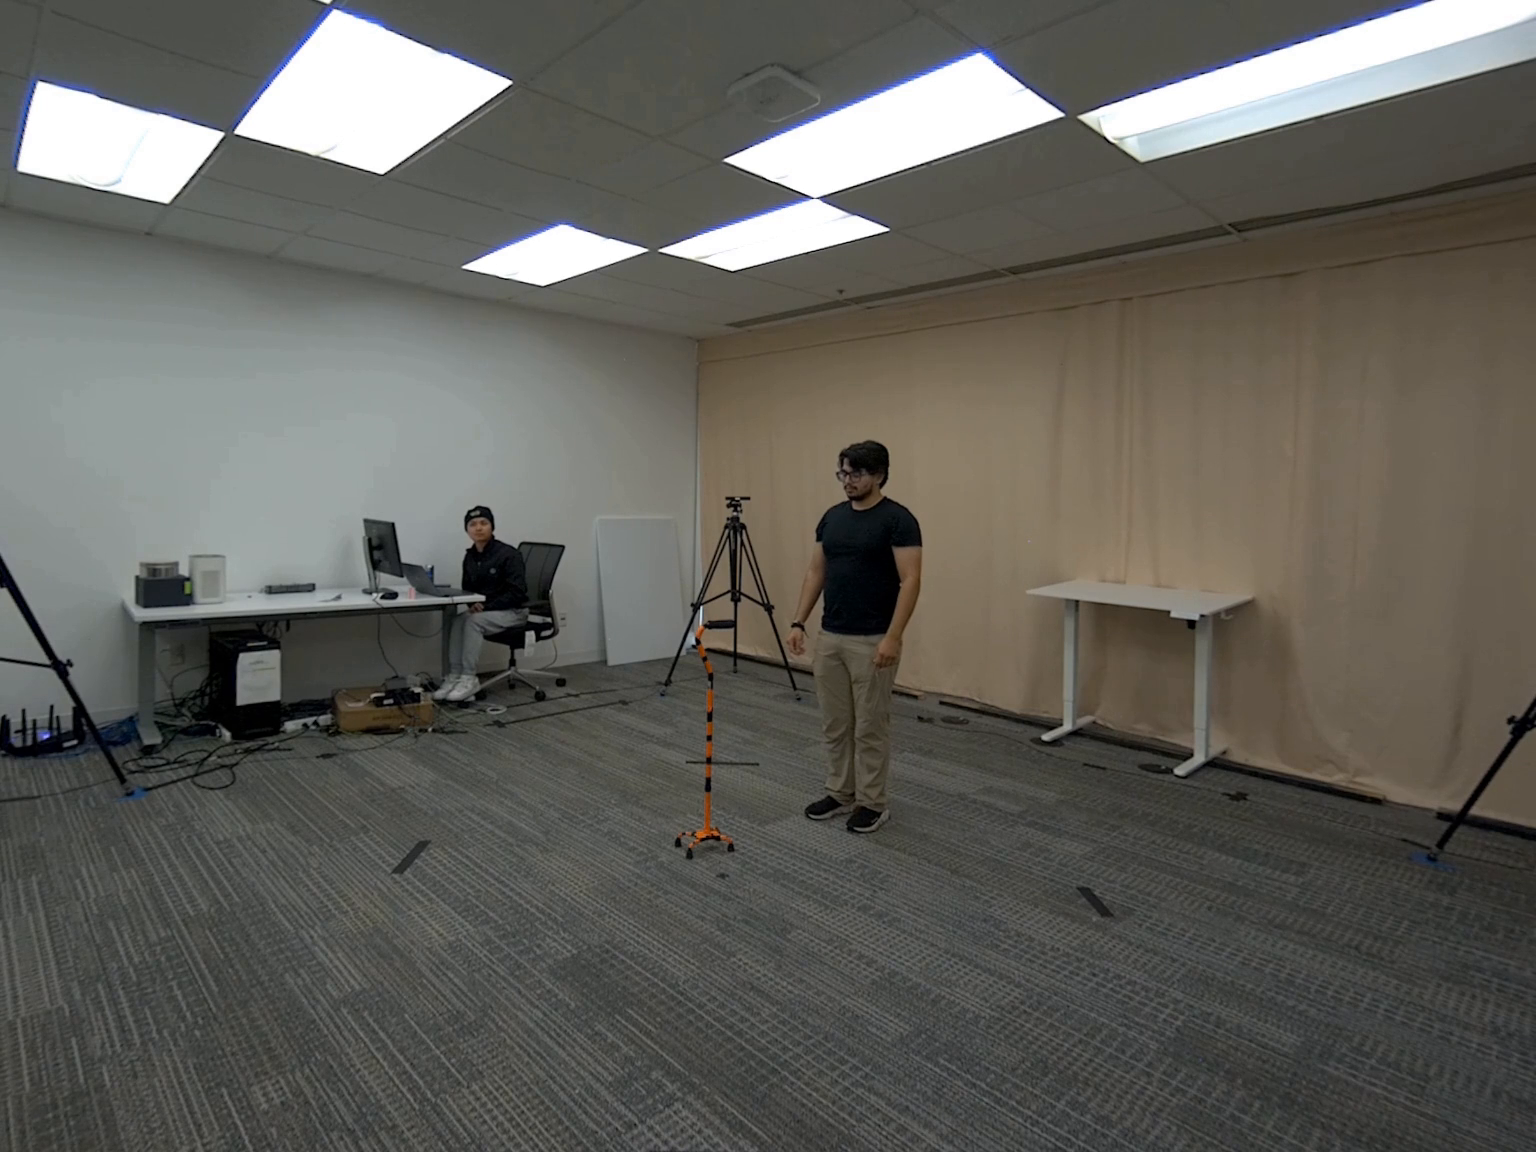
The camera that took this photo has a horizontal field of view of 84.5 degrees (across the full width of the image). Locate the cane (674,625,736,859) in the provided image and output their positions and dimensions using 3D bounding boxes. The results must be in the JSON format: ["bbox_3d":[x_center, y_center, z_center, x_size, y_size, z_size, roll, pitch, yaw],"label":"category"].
[{"bbox_3d":[-0.243,0.632,3.328,0.203,0.907,0.154,1,2,-25],"label":"cane"}]
